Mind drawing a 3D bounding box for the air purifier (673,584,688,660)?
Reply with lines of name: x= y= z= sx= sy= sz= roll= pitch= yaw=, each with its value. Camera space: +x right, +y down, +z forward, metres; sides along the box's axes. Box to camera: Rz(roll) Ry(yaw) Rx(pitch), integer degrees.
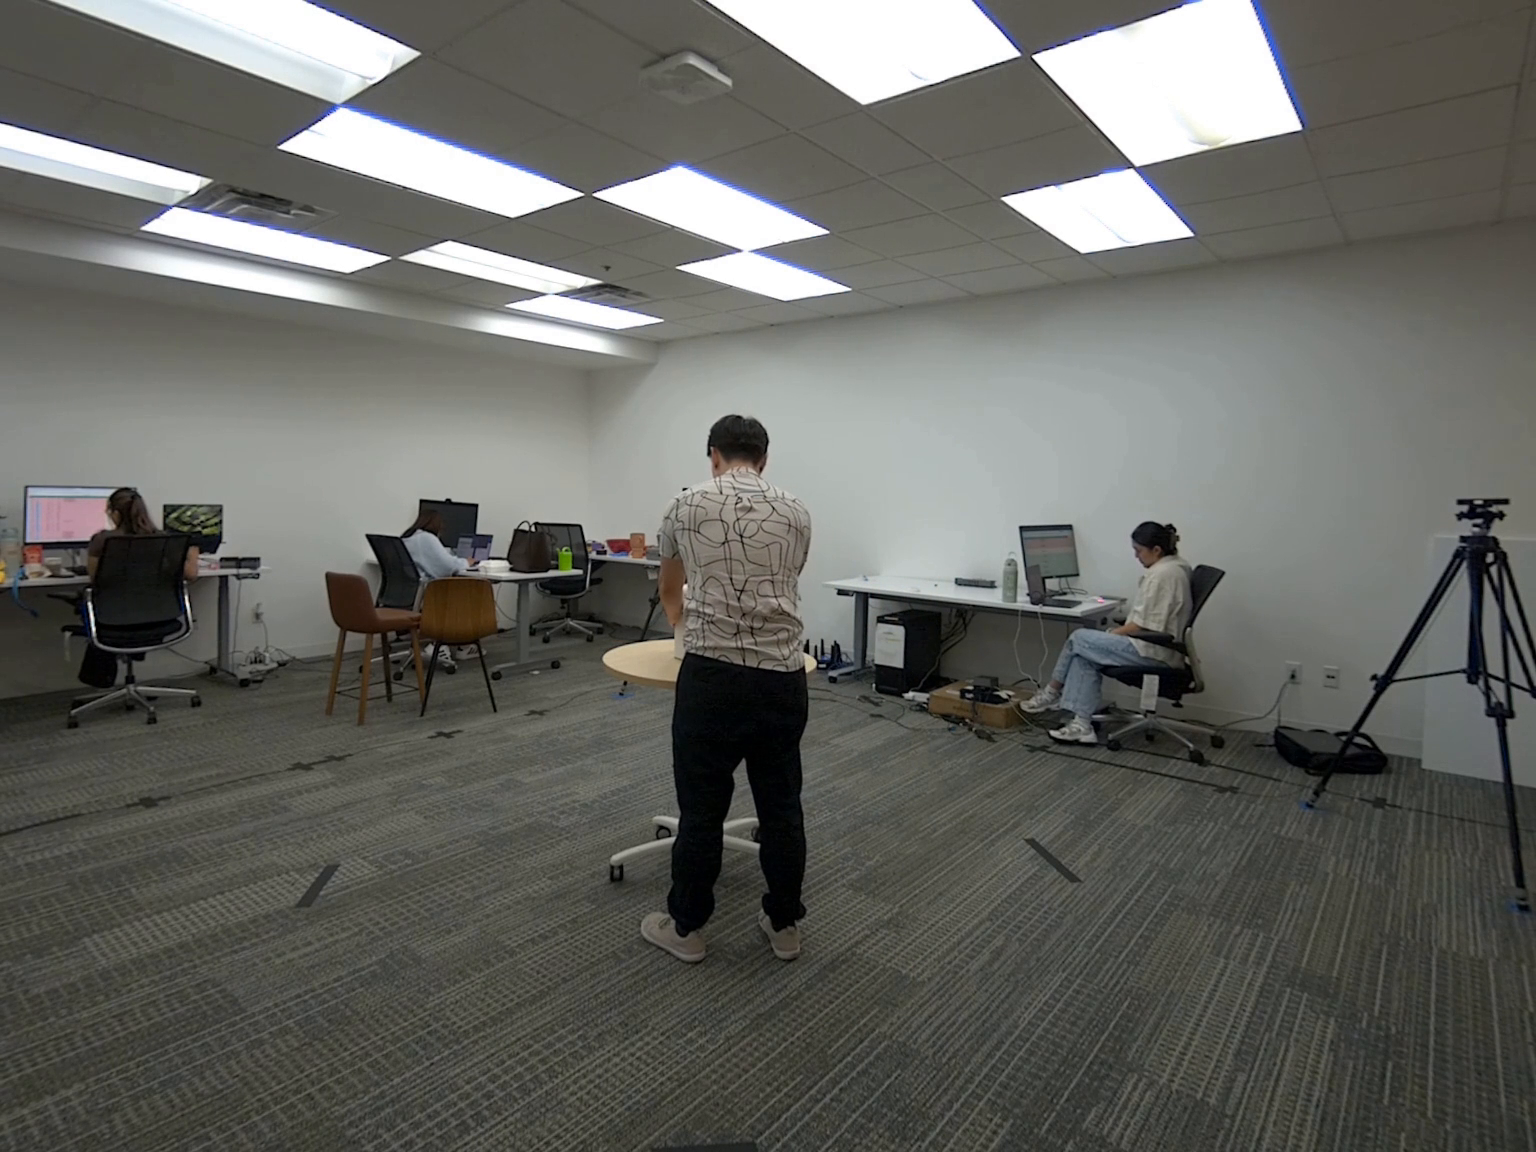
air purifier: x=-0.241 y=0.159 z=3.052 sx=0.166 sy=0.265 sz=0.177 roll=-1 pitch=4 yaw=-44
